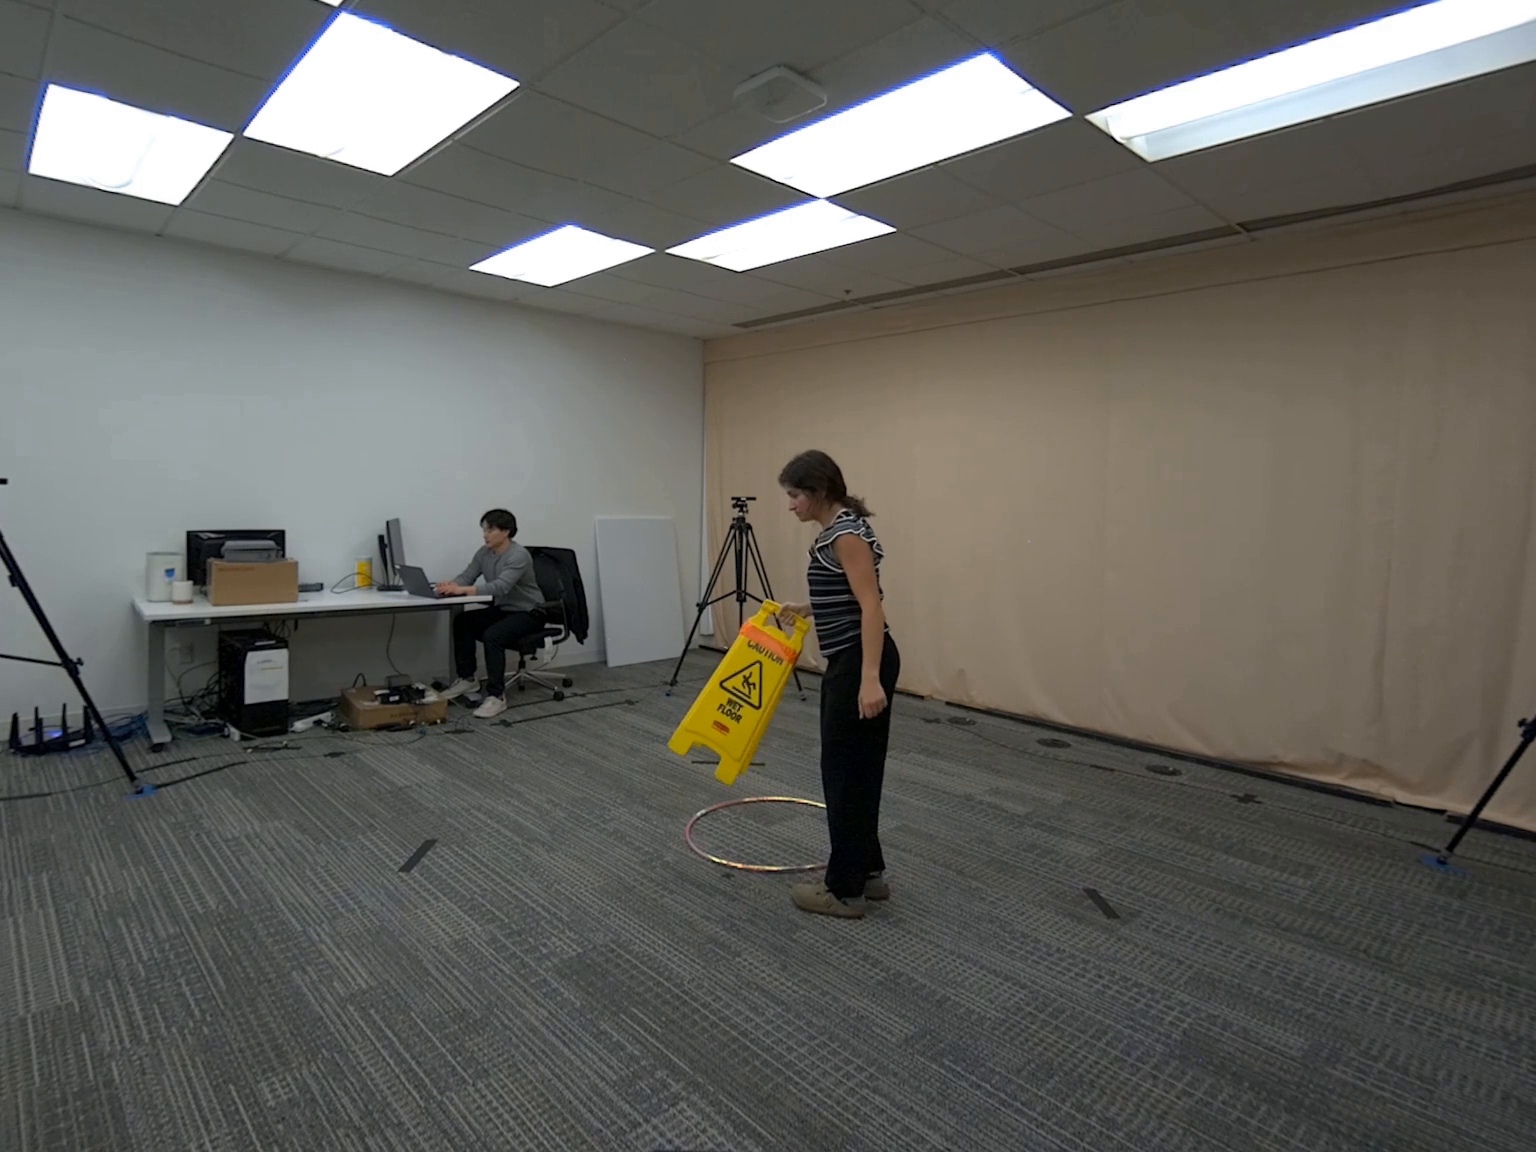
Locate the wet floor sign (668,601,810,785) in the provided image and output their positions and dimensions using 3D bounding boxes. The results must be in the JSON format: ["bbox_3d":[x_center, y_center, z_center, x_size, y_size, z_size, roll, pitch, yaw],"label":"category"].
[{"bbox_3d":[-0.068,0.421,3.171,0.286,0.646,0.286,27,1,11],"label":"wet floor sign"}]
